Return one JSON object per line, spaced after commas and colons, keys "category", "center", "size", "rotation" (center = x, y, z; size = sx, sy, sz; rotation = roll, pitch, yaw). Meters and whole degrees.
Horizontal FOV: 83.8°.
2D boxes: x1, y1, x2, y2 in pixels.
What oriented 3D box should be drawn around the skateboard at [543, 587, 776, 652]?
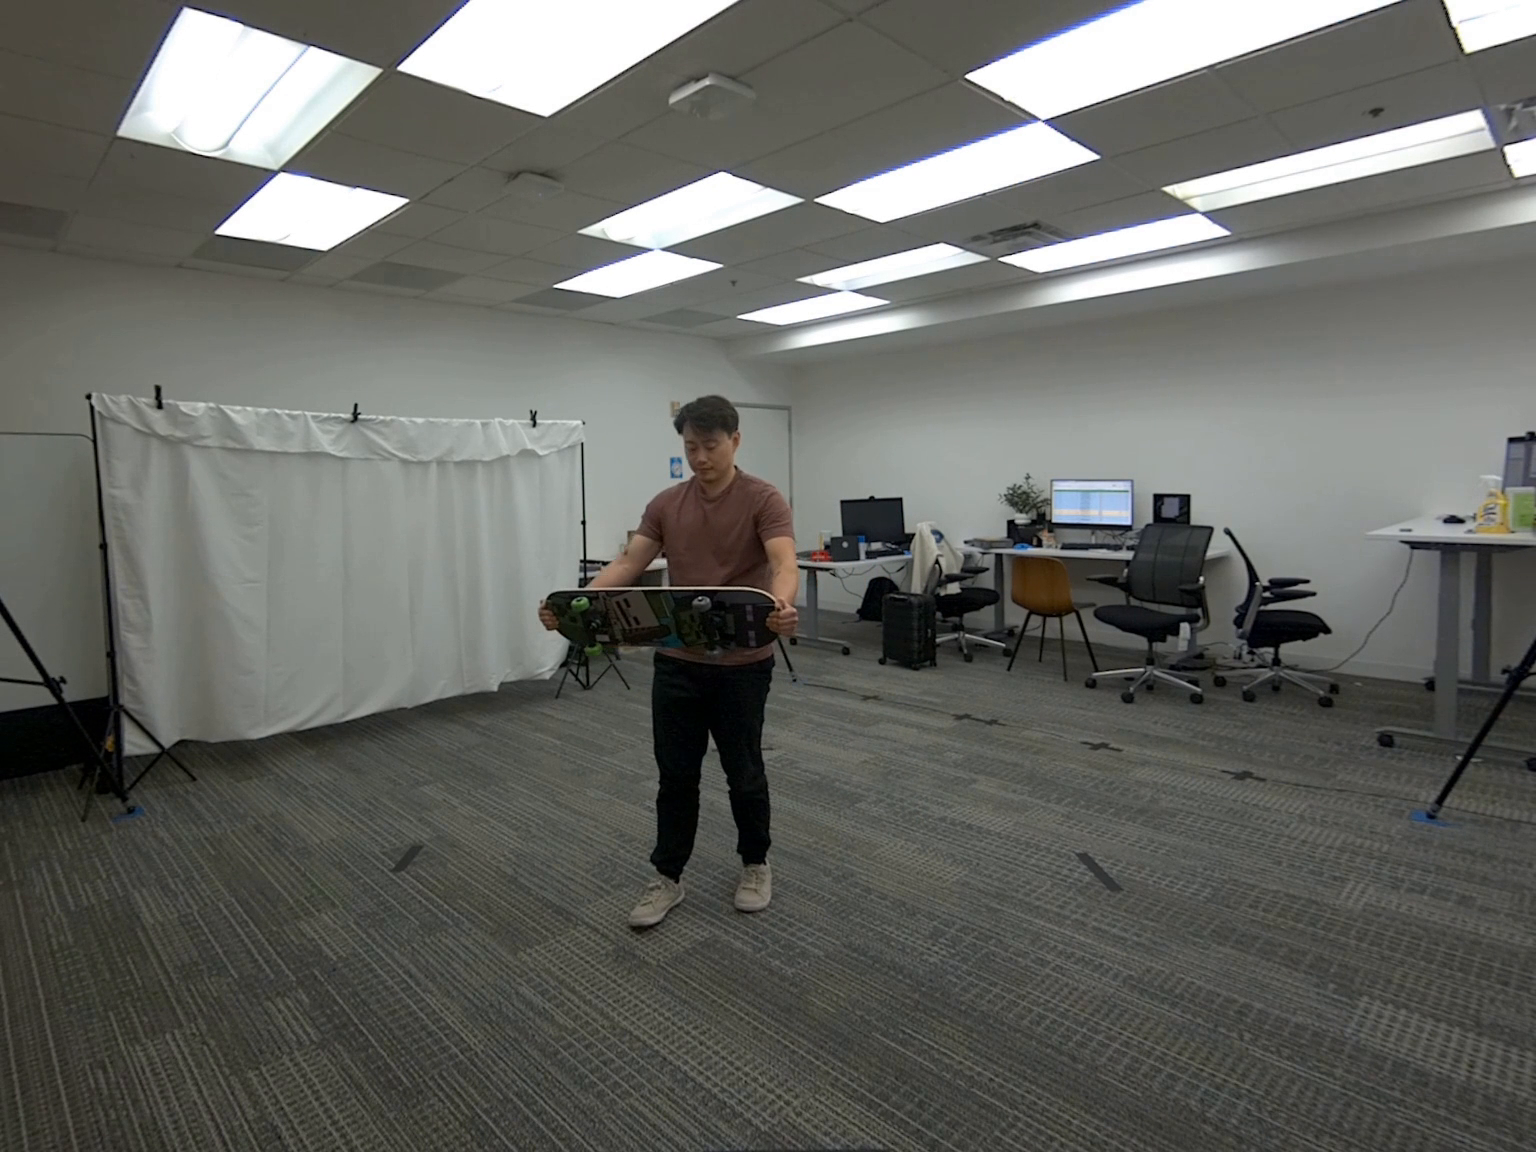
{"category": "skateboard", "center": [-0.330, 0.134, 2.454], "size": [0.804, 0.190, 0.110], "rotation": [-2, 21, 29]}
